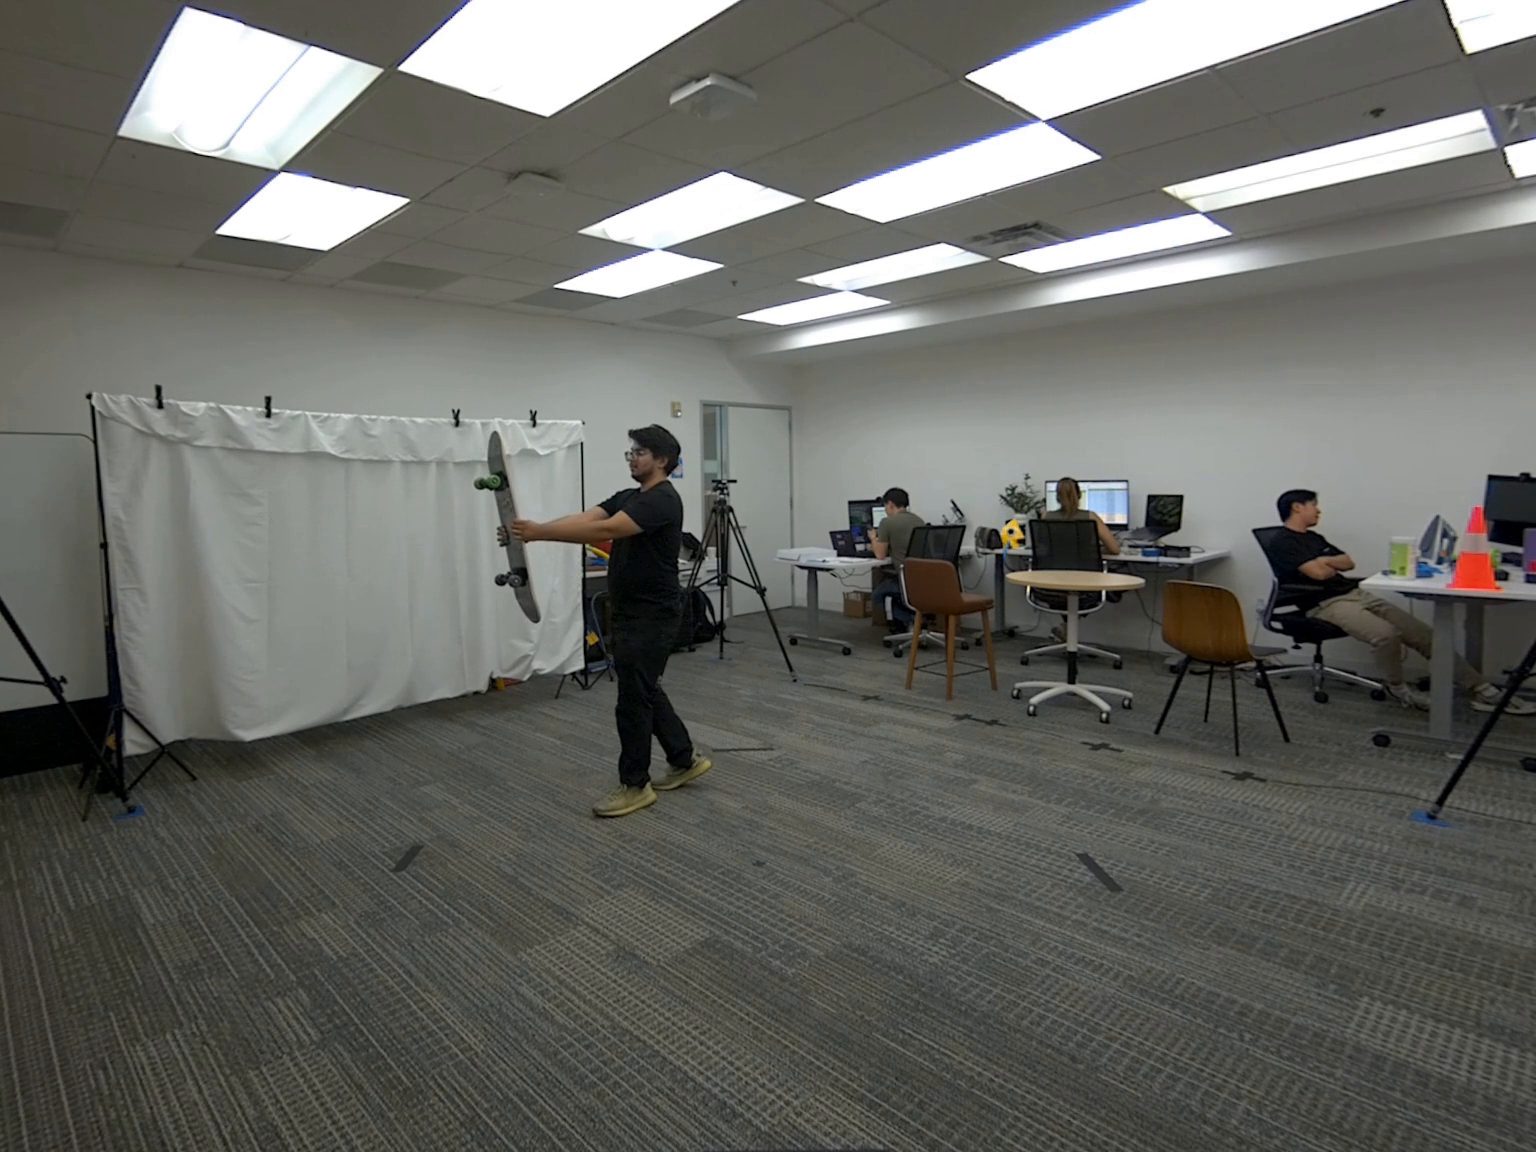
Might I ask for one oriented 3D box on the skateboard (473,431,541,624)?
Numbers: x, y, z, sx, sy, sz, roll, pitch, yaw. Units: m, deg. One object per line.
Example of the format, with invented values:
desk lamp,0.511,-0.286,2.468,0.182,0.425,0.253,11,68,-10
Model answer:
skateboard,-1.044,-0.180,3.408,0.108,0.780,0.198,-15,8,-34
